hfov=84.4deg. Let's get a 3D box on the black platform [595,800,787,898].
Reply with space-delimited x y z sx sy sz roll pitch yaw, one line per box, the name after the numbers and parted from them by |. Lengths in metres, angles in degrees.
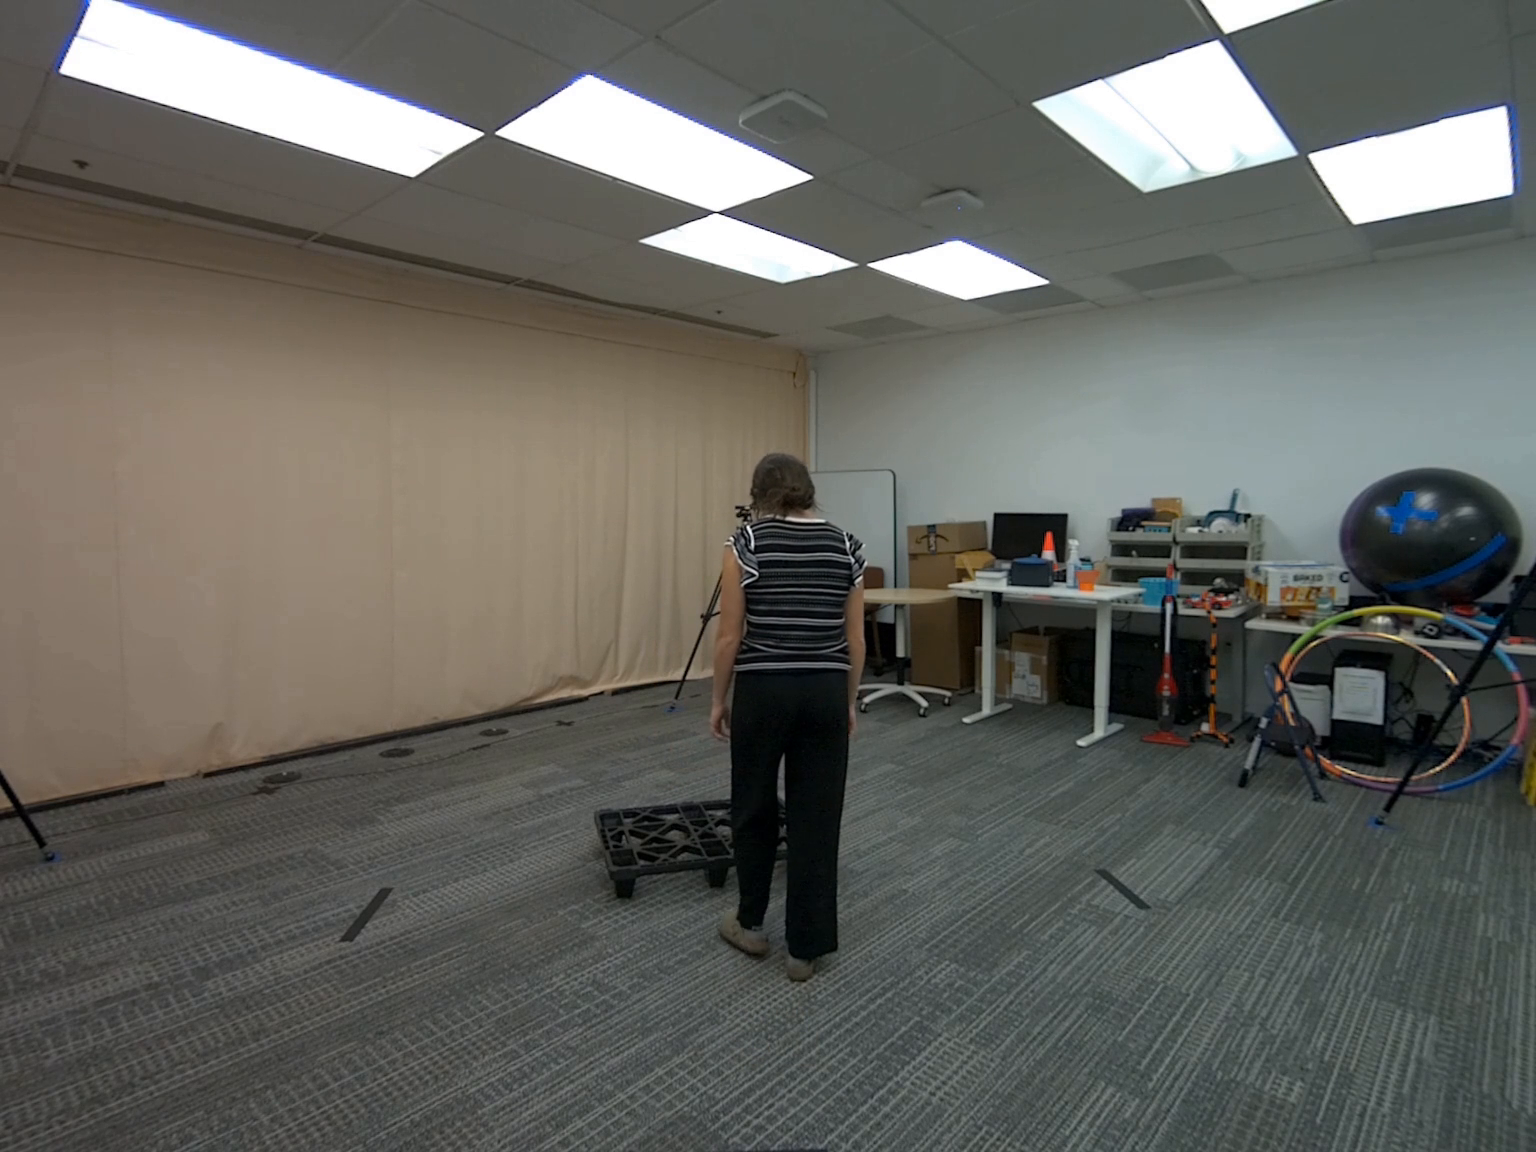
-0.253 1.052 3.299 0.794 0.143 0.615 -2 4 -15 | black platform
